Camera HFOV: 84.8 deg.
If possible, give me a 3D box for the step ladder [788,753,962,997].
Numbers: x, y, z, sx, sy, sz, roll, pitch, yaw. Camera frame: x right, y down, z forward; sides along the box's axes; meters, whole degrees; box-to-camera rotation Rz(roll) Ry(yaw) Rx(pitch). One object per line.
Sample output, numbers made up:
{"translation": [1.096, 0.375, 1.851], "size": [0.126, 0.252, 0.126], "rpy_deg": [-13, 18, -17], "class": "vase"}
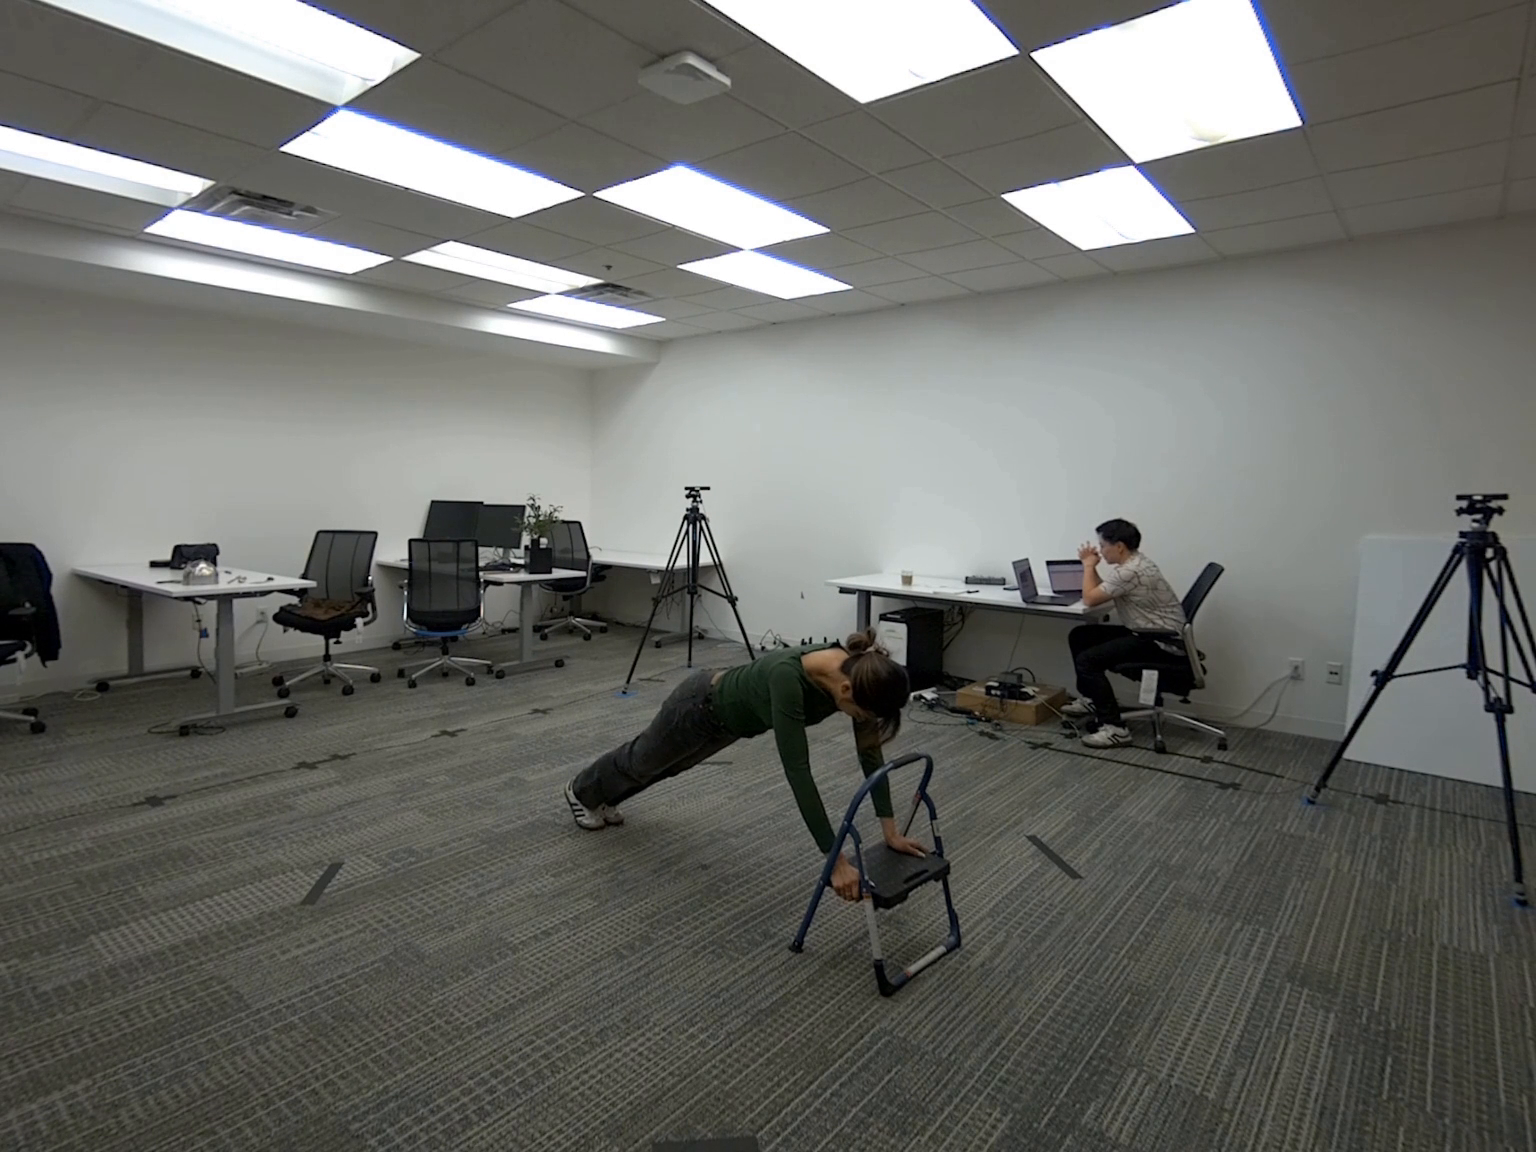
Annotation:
{"translation": [0.332, 0.828, 2.579], "size": [0.361, 0.604, 0.417], "rpy_deg": [5, 5, 42], "class": "step ladder"}
